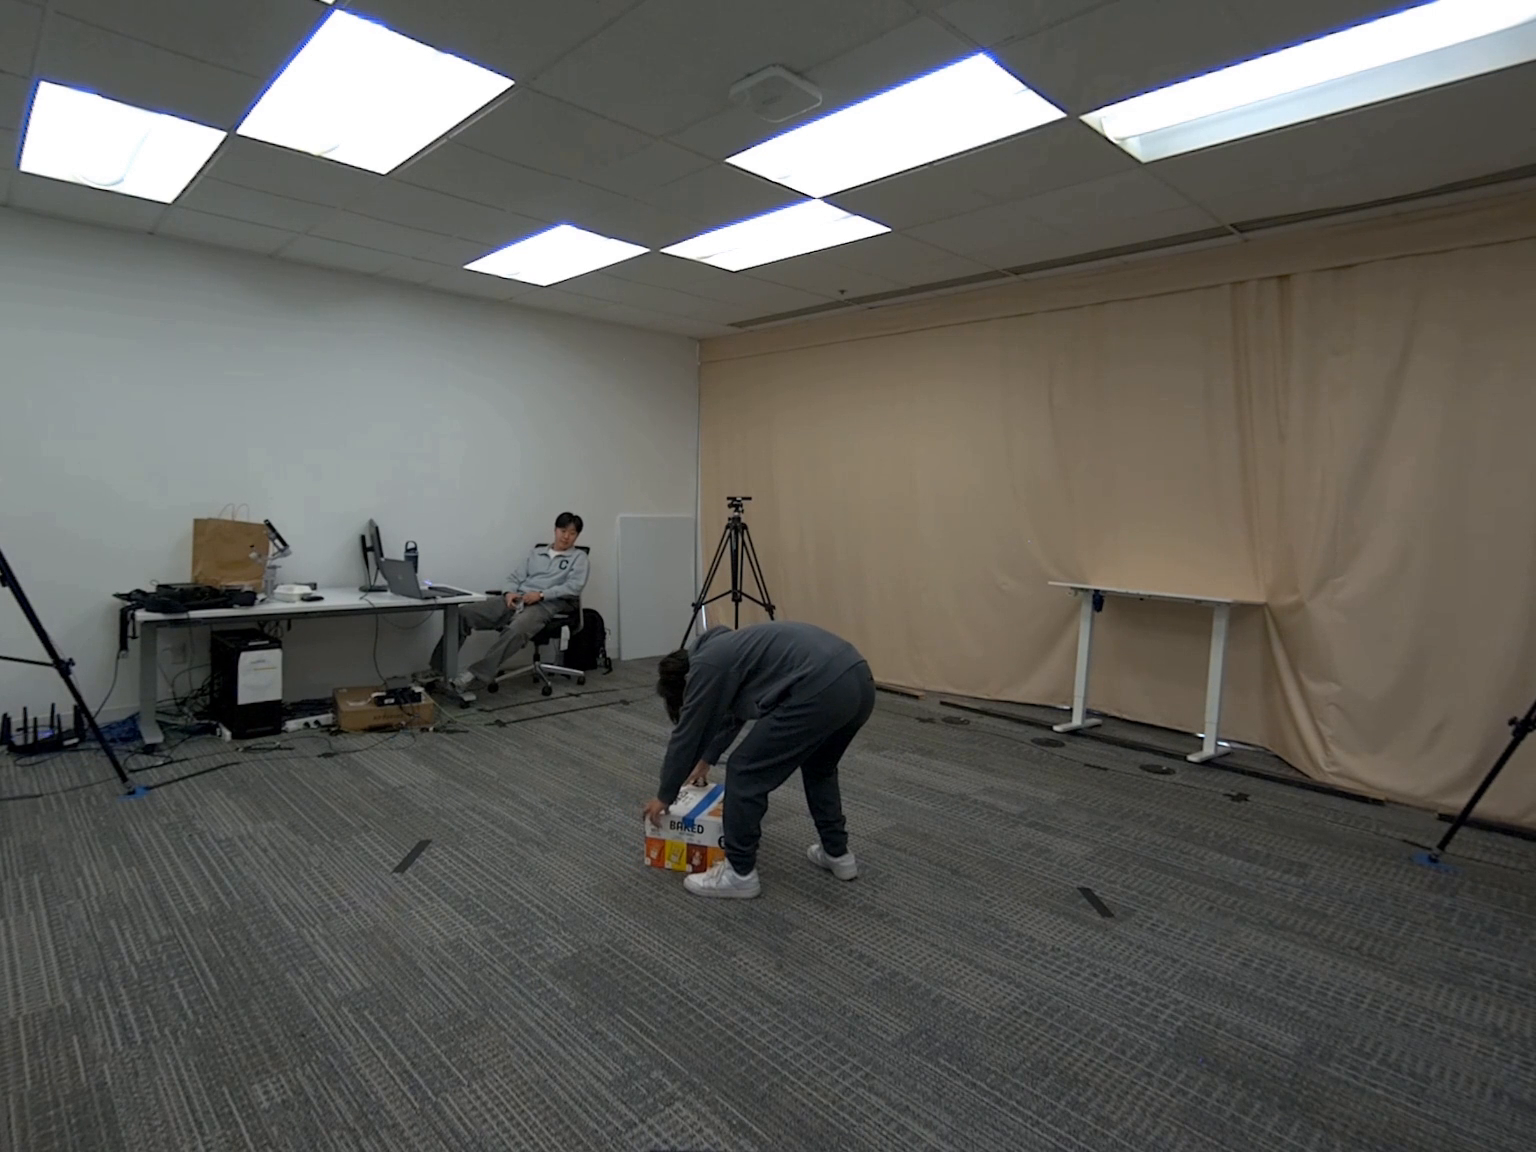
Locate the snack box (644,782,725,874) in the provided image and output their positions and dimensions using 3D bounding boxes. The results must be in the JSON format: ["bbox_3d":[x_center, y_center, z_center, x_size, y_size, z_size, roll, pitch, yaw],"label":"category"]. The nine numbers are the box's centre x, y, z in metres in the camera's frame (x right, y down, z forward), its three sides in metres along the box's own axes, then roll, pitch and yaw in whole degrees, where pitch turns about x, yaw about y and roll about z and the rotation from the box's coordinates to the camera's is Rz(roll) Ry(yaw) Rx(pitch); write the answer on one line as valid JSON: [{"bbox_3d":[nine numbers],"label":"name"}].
[{"bbox_3d":[-0.260,0.987,3.316,0.345,0.205,0.400,3,4,17],"label":"snack box"}]
